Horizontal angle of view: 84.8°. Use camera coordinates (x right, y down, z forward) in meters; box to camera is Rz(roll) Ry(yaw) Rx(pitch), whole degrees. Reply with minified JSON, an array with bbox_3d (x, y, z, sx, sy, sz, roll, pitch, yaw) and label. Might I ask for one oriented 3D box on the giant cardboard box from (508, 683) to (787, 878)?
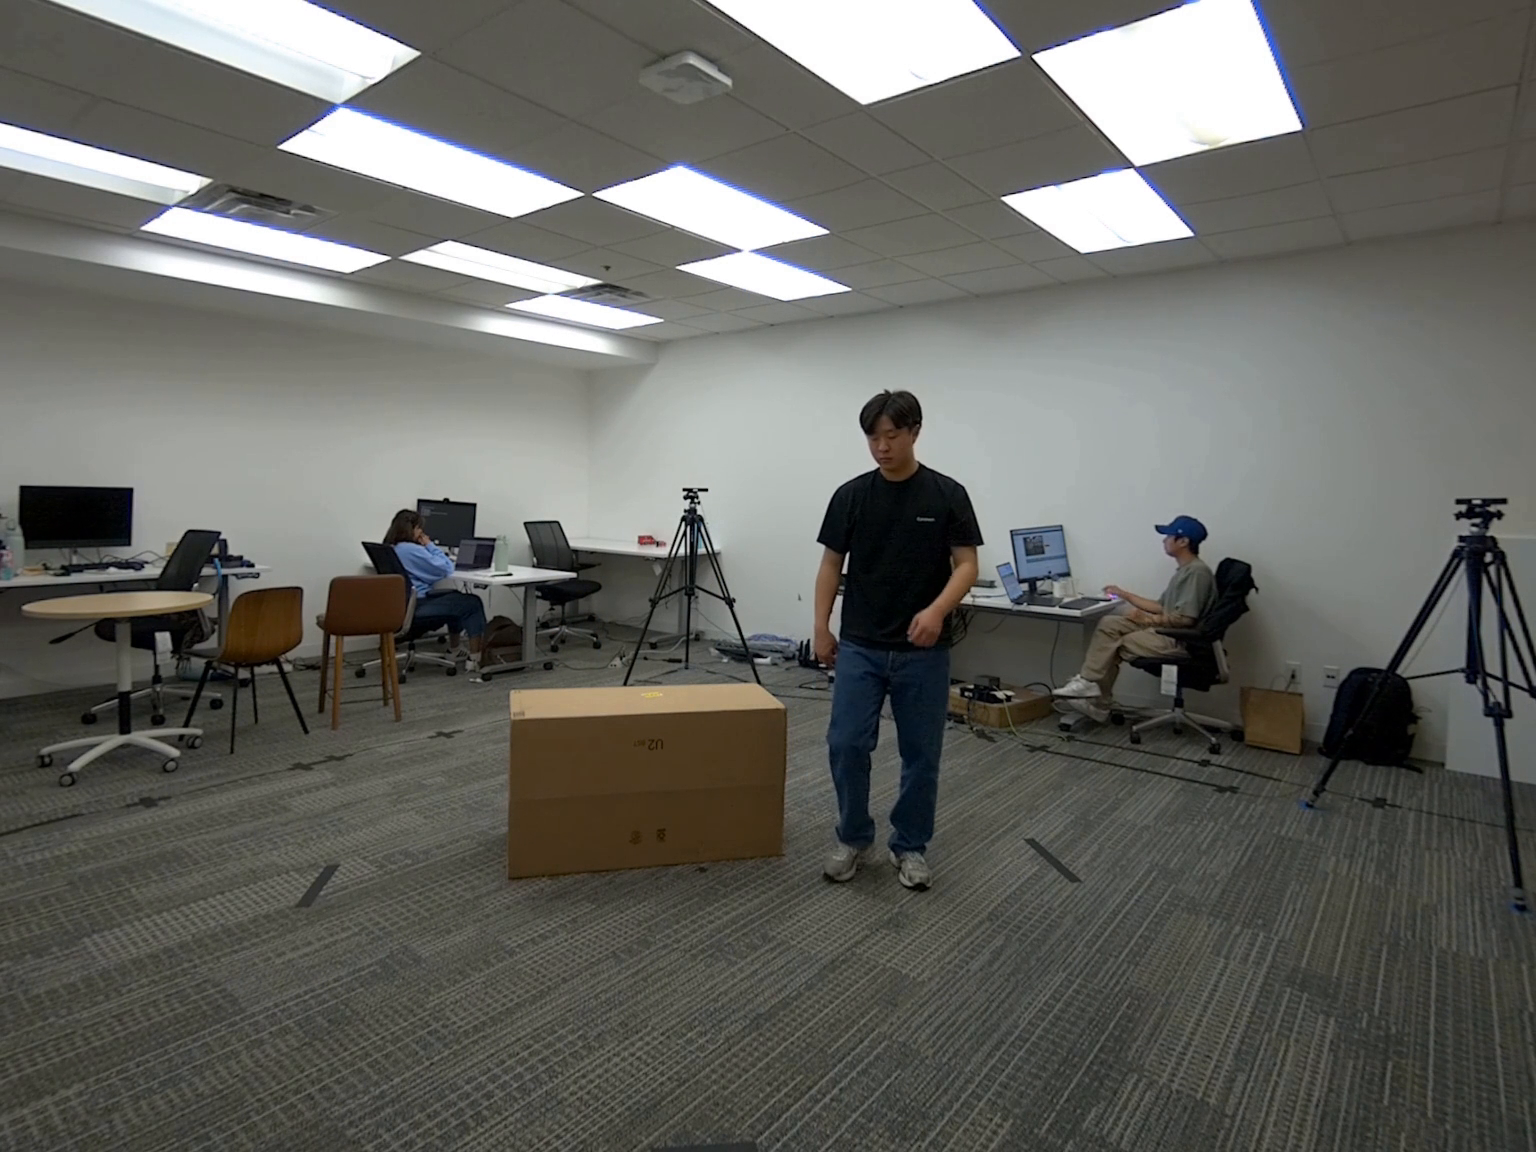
[{"bbox_3d":[-0.494,0.757,3.309,1.011,0.583,0.455,0,3,-15],"label":"giant cardboard box"}]
